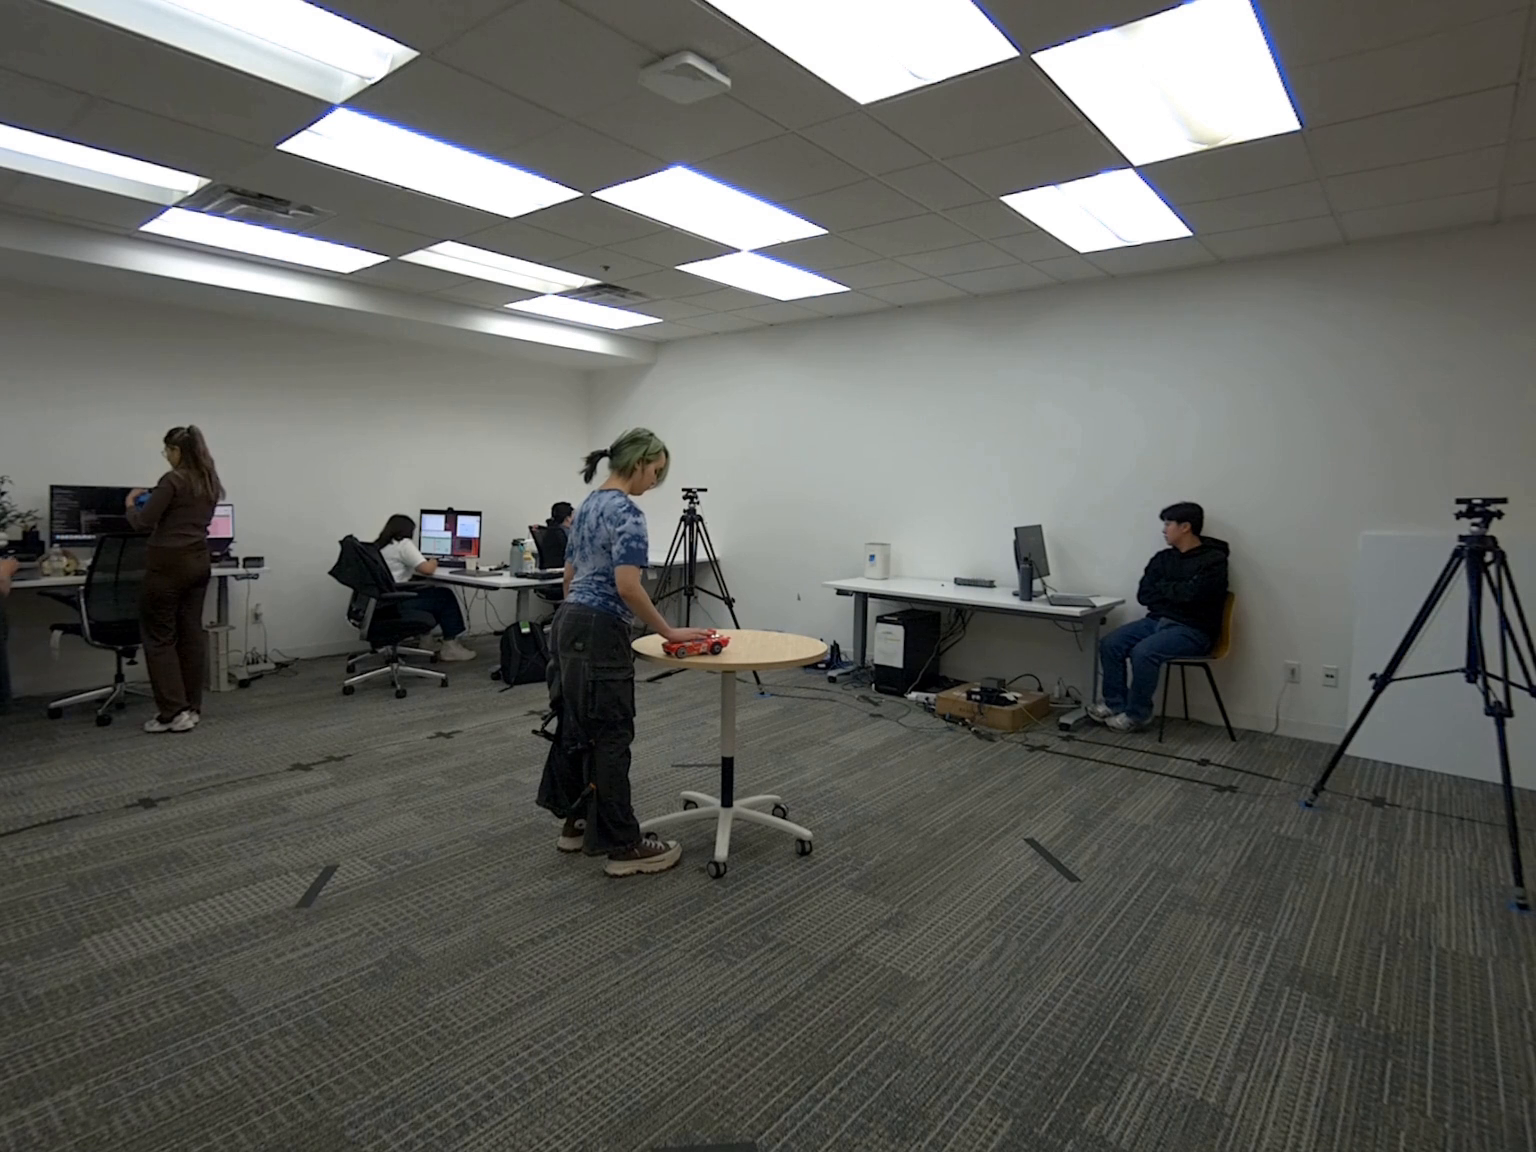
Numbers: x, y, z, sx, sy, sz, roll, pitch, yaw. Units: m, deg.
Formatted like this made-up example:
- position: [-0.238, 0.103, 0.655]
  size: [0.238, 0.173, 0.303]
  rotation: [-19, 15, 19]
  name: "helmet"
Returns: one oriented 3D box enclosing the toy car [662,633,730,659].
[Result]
- position: [-0.263, 0.256, 3.121]
  size: [0.249, 0.082, 0.134]
  rotation: [-17, 13, -31]
  name: "toy car"
